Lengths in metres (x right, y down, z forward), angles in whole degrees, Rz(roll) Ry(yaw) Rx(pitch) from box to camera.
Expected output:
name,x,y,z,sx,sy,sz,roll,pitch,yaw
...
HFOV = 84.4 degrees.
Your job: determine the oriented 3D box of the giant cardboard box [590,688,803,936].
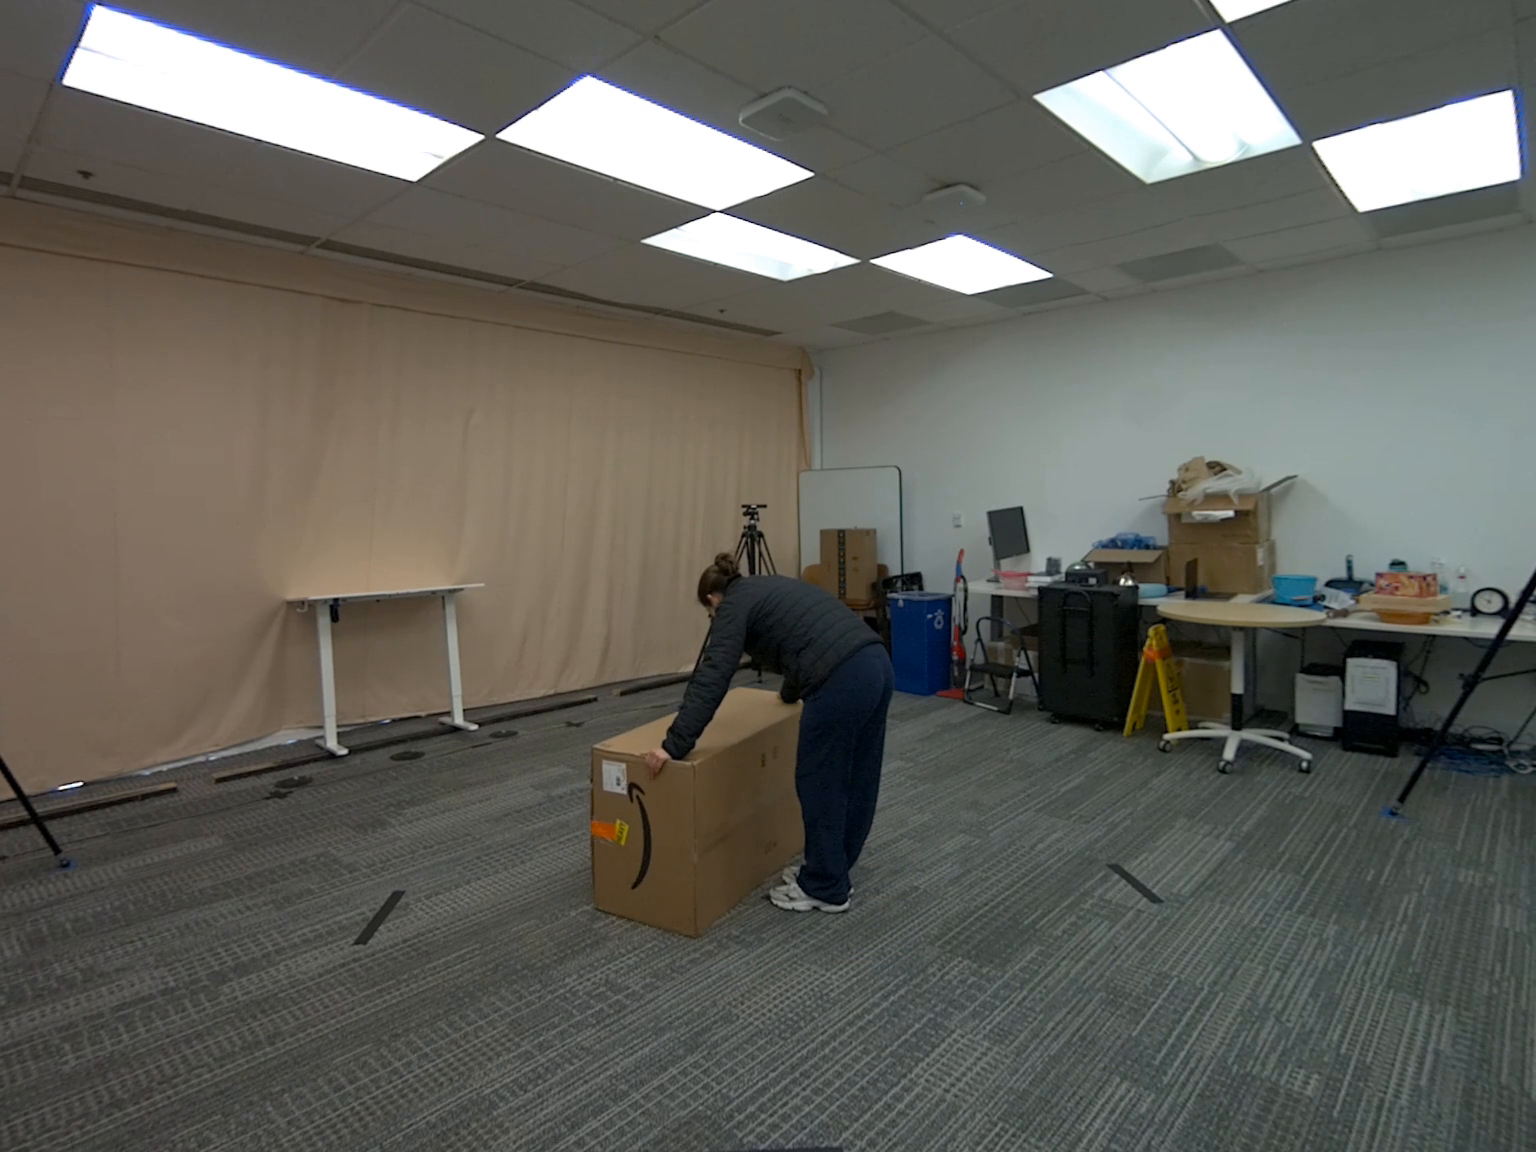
name,x,y,z,sx,sy,sz,roll,pitch,yaw
giant cardboard box,-0.174,0.836,3.235,0.460,0.582,1.001,3,6,29
